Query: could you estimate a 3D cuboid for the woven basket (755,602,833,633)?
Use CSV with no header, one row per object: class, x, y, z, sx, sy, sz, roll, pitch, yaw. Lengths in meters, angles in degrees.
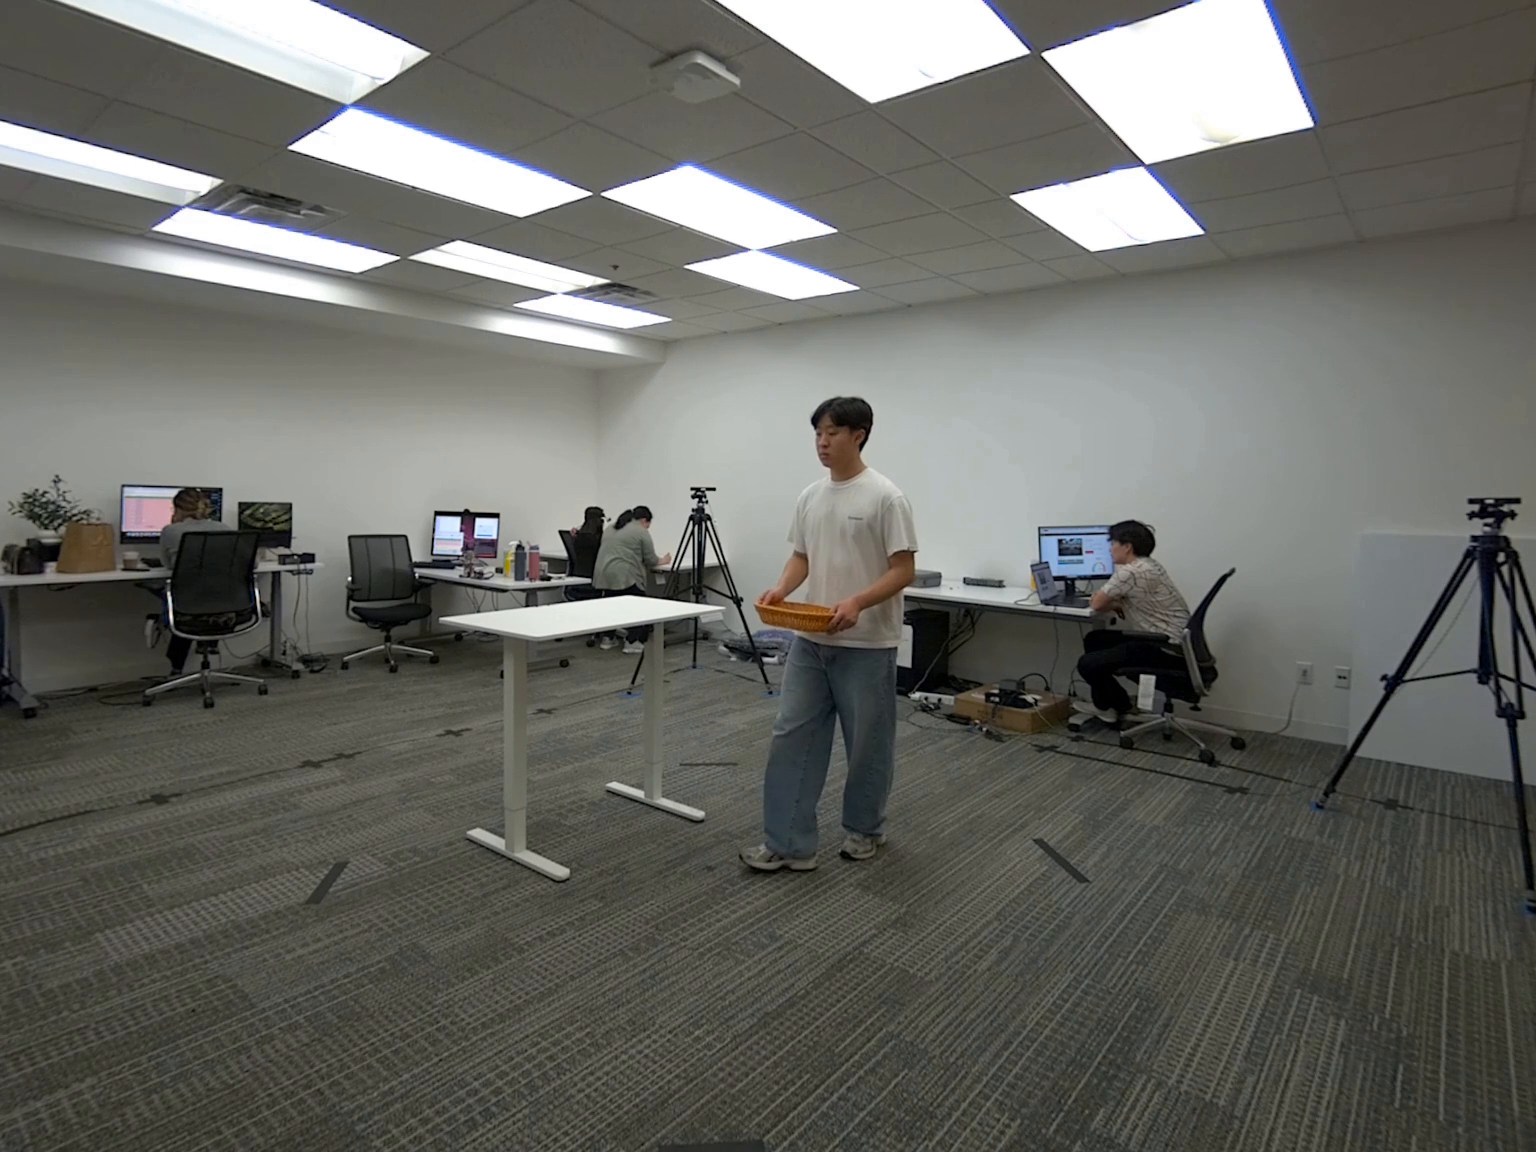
woven basket,0.114,0.144,3.044,0.245,0.073,0.362,0,6,-38
